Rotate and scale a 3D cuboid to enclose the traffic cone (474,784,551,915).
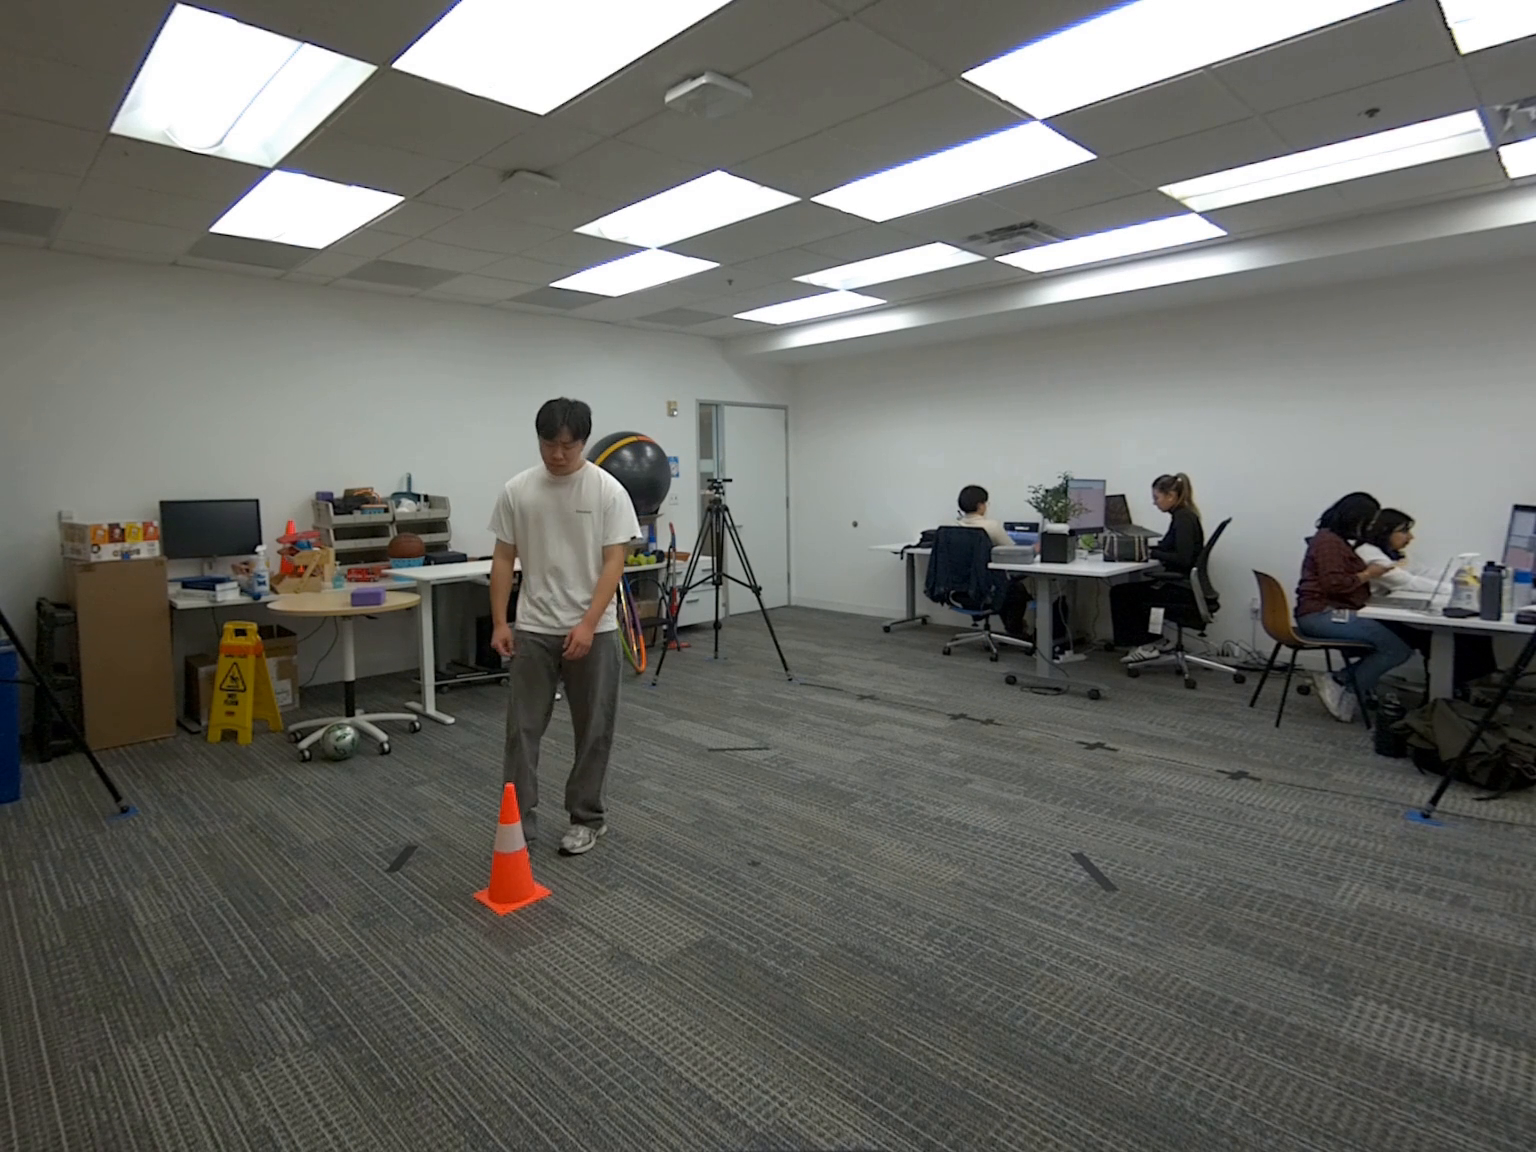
[{"bbox_3d":[-0.877,0.899,2.909,0.200,0.382,0.209,-8,7,-40],"label":"traffic cone"}]
